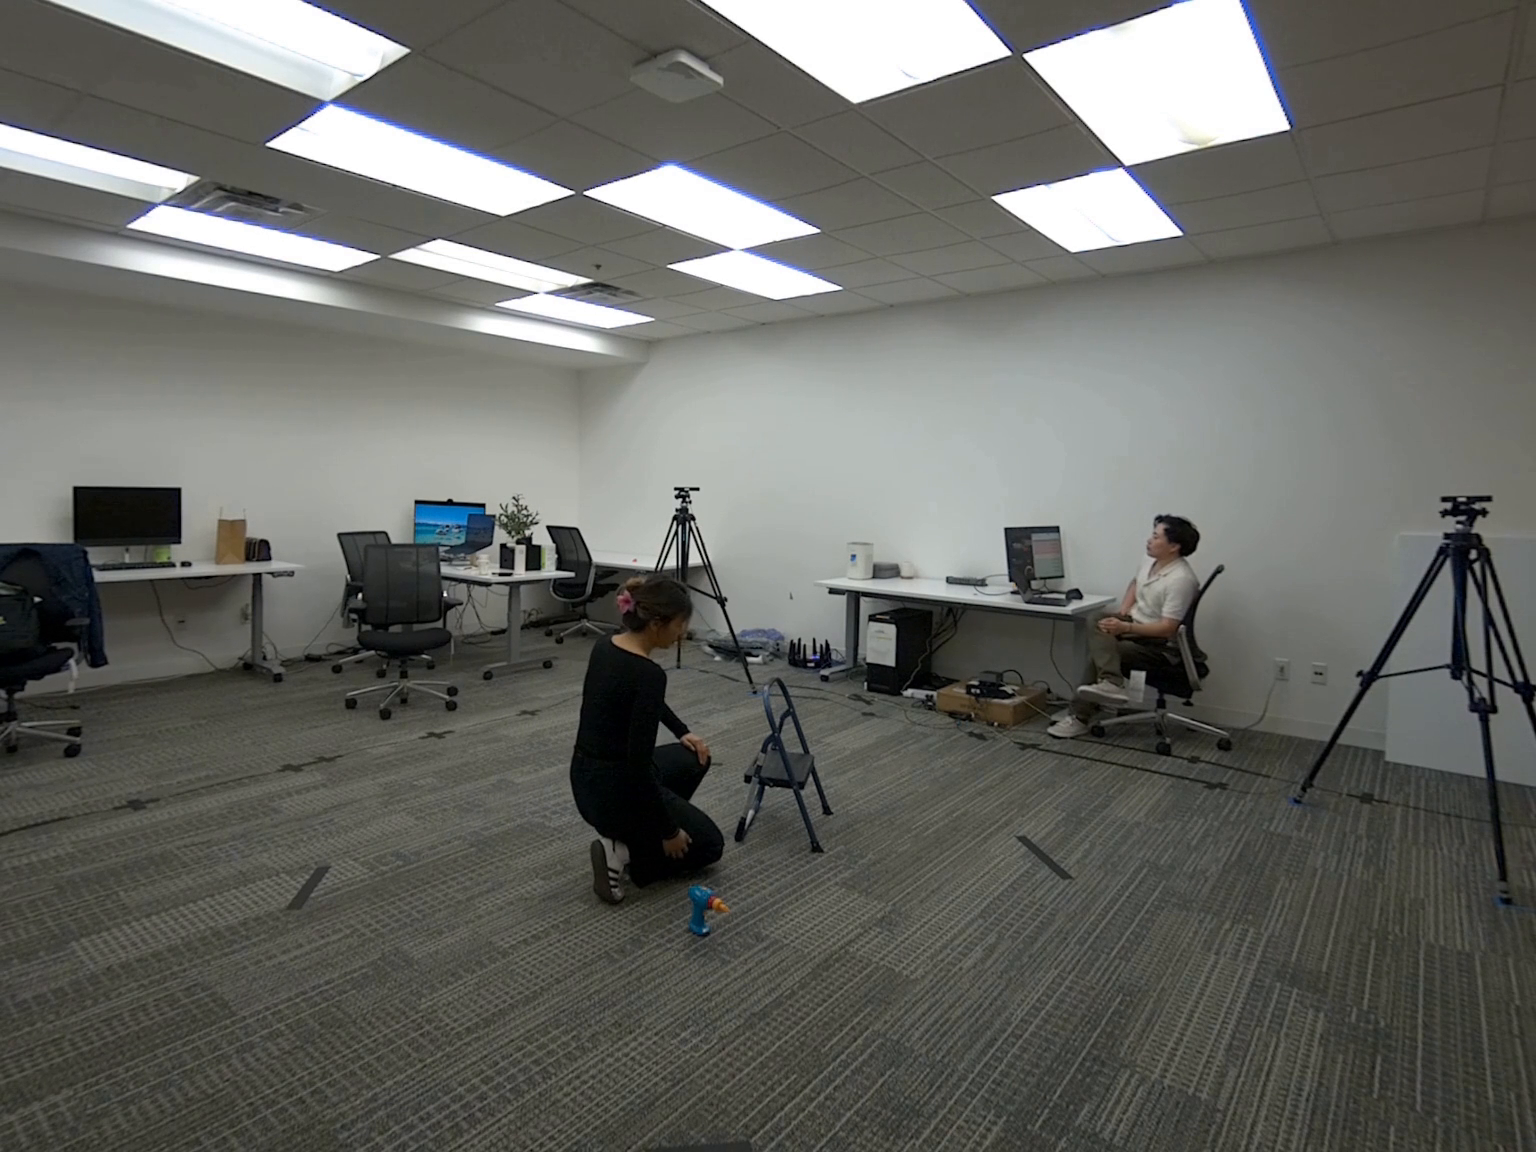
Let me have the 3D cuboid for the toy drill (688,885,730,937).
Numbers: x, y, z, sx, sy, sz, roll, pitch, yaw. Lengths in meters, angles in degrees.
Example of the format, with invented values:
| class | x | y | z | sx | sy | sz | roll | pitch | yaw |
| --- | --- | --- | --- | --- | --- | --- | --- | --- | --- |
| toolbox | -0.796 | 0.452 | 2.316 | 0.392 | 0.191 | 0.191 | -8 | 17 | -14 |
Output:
| class | x | y | z | sx | sy | sz | roll | pitch | yaw |
| --- | --- | --- | --- | --- | --- | --- | --- | --- | --- |
| toy drill | -0.196 | 1.040 | 2.633 | 0.176 | 0.145 | 0.059 | 7 | 5 | 43 |
